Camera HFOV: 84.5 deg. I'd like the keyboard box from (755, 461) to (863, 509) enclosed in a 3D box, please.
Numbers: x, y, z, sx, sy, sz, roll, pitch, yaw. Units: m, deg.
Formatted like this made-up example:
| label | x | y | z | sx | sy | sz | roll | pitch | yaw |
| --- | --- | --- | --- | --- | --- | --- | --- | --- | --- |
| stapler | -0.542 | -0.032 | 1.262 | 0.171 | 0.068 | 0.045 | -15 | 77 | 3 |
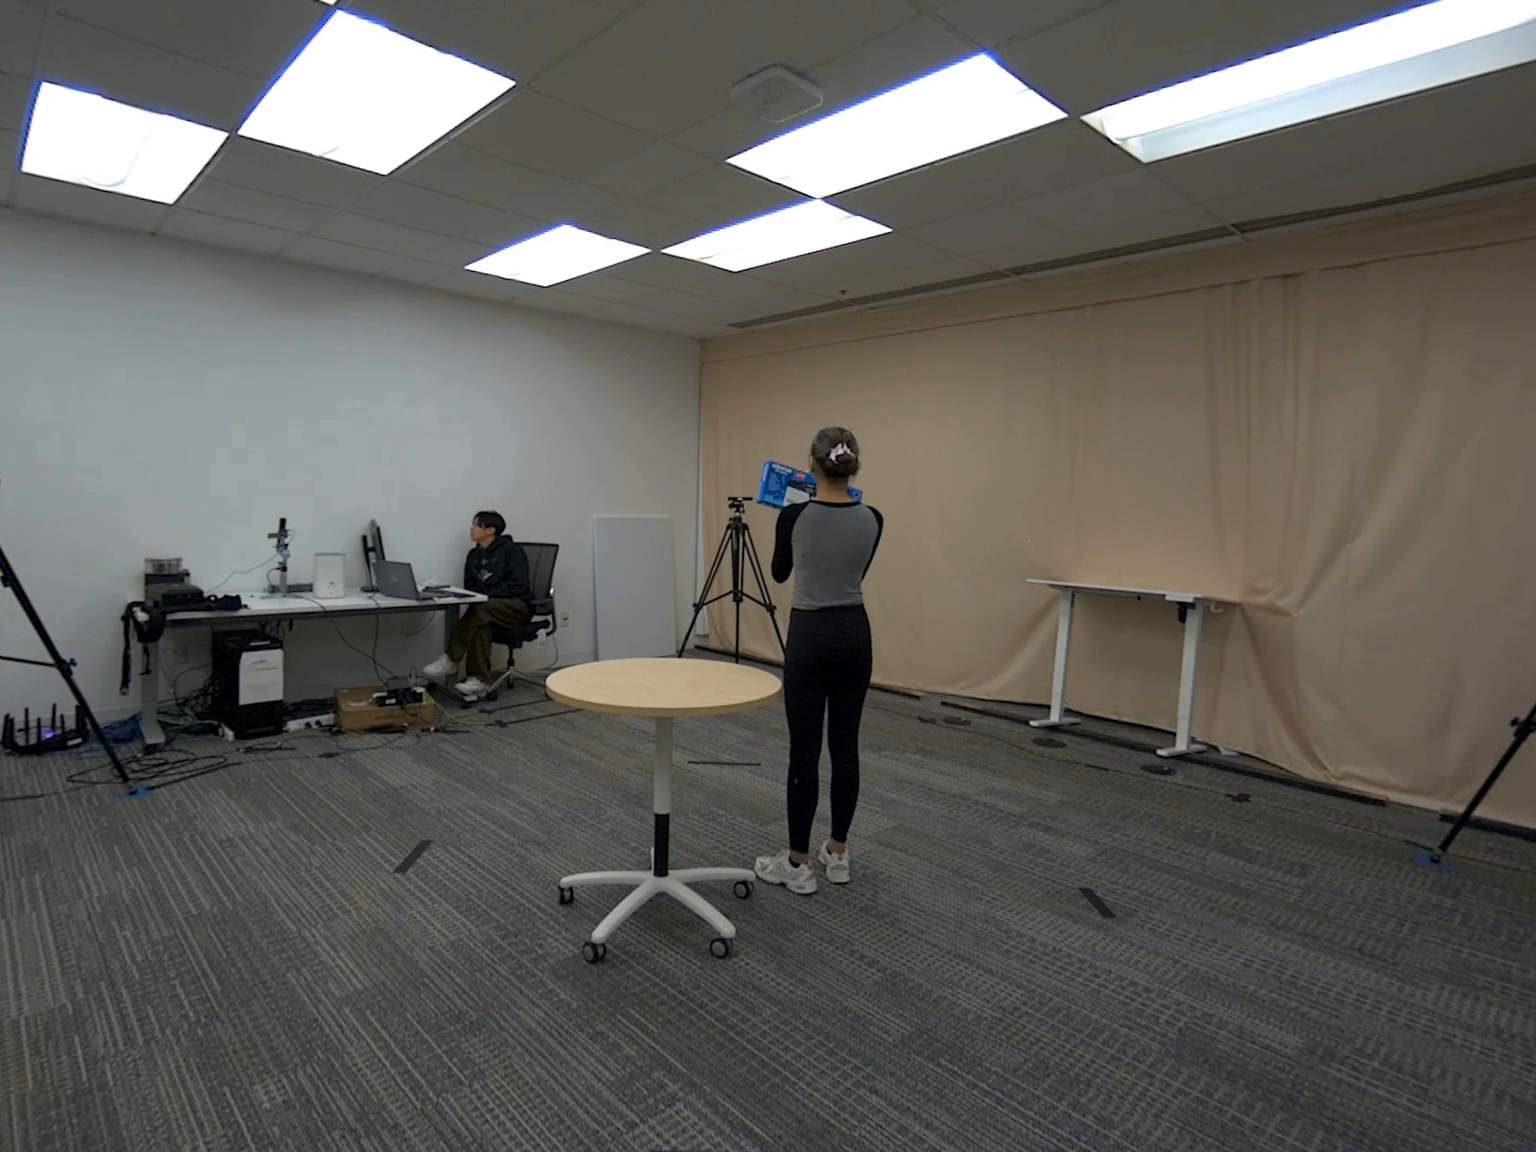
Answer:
| label | x | y | z | sx | sy | sz | roll | pitch | yaw |
| --- | --- | --- | --- | --- | --- | --- | --- | --- | --- |
| keyboard box | 0.171 | -0.323 | 3.440 | 0.429 | 0.177 | 0.060 | 16 | -10 | -21 |
